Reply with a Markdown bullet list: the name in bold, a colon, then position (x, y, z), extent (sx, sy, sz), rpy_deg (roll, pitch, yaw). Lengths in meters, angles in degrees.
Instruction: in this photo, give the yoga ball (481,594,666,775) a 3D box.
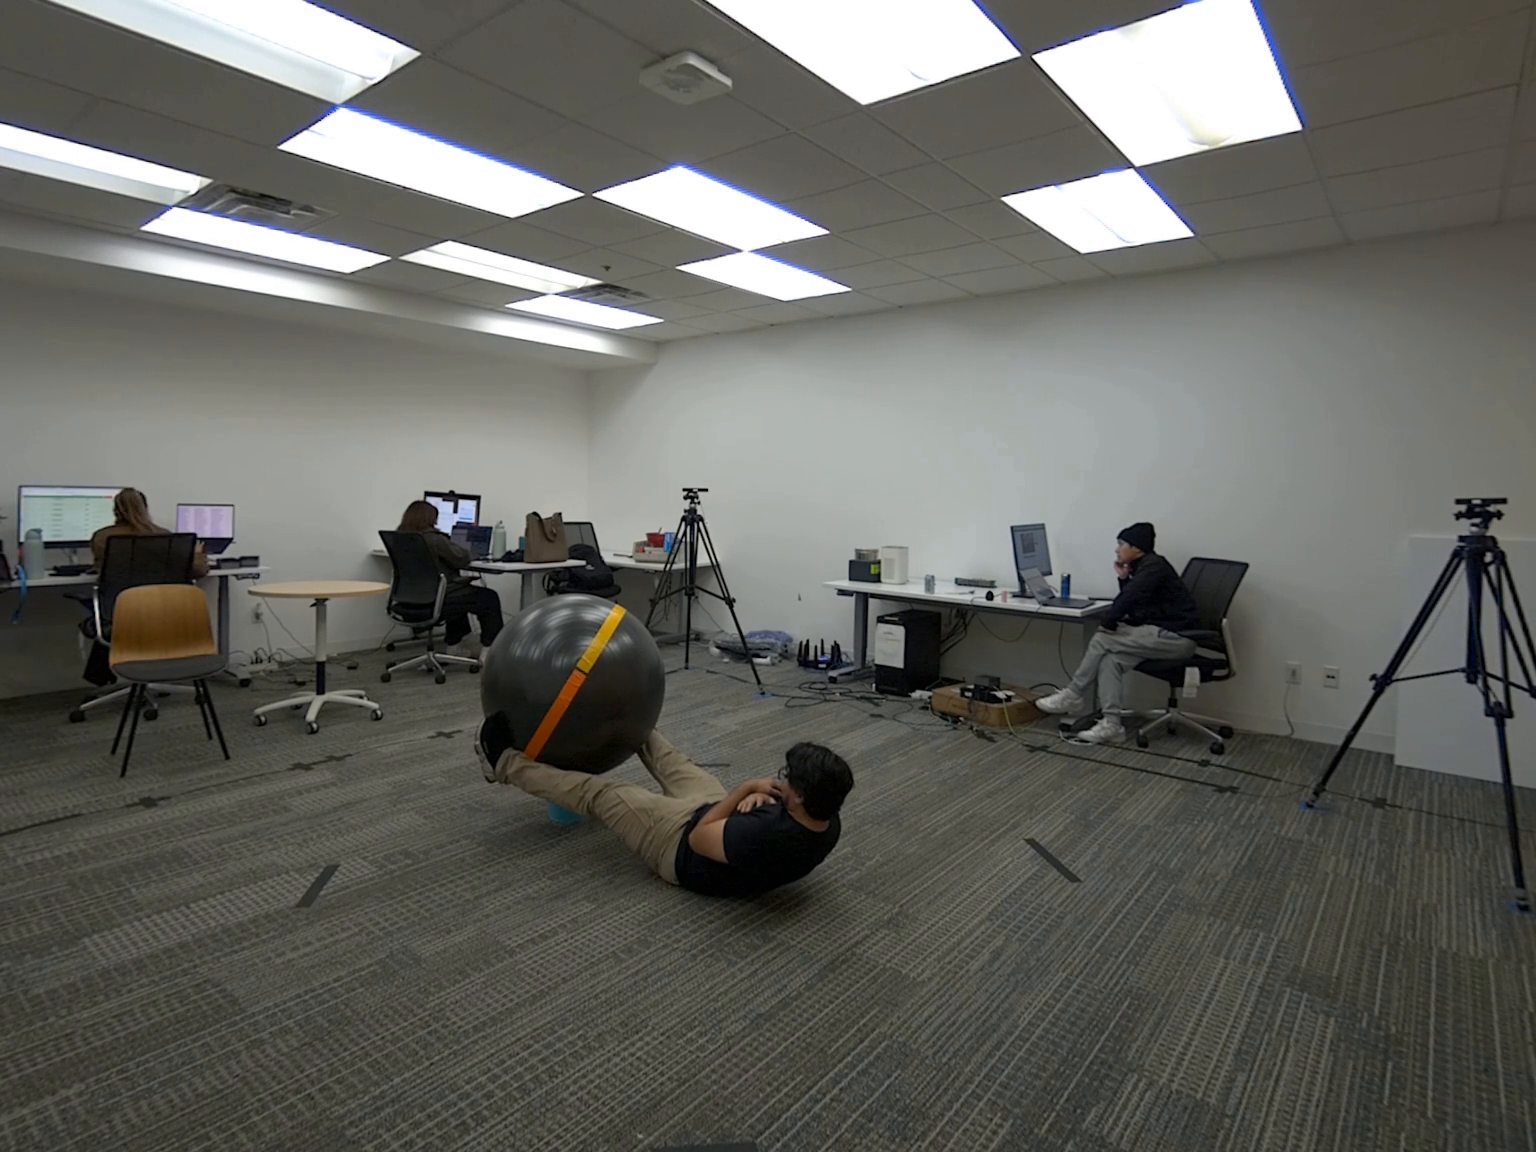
- **yoga ball**: position (-0.819, 0.454, 3.547), extent (0.757, 0.755, 0.762), rpy_deg (1, 4, -2)
